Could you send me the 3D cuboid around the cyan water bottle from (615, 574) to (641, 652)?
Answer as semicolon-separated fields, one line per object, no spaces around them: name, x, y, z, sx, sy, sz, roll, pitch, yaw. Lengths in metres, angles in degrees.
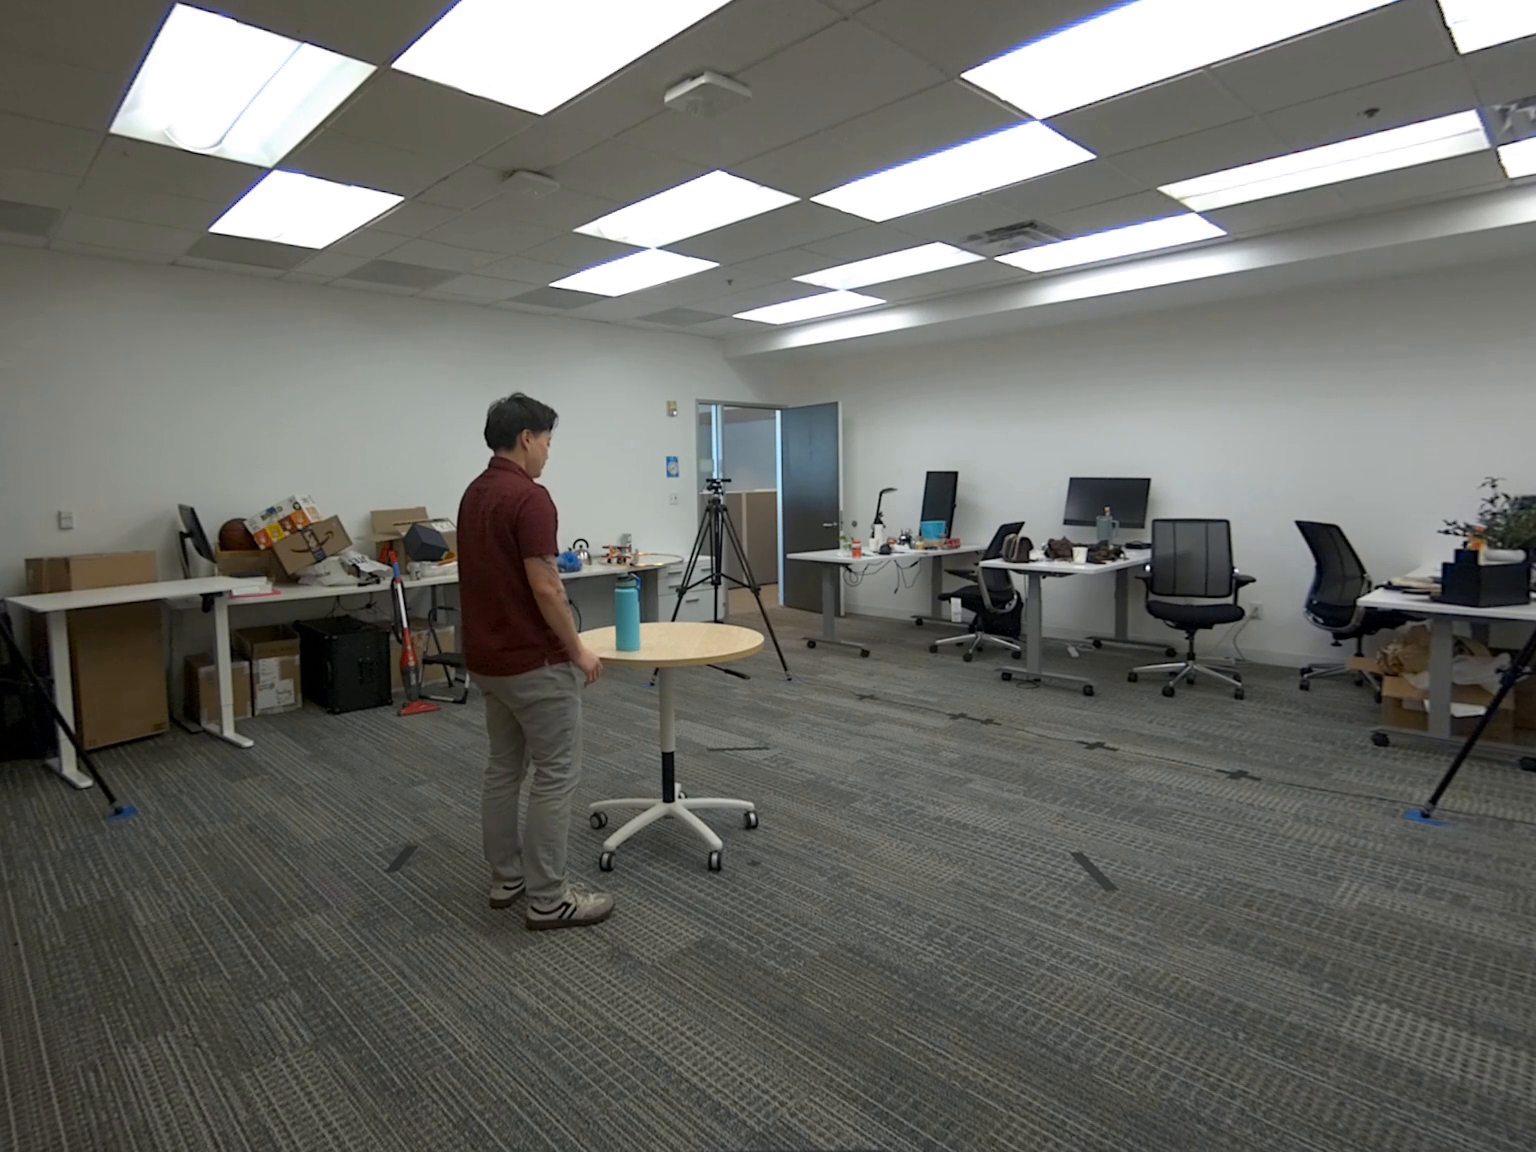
cyan water bottle;-0.513;0.127;3.113;0.092;0.283;0.092;1;3;-2
